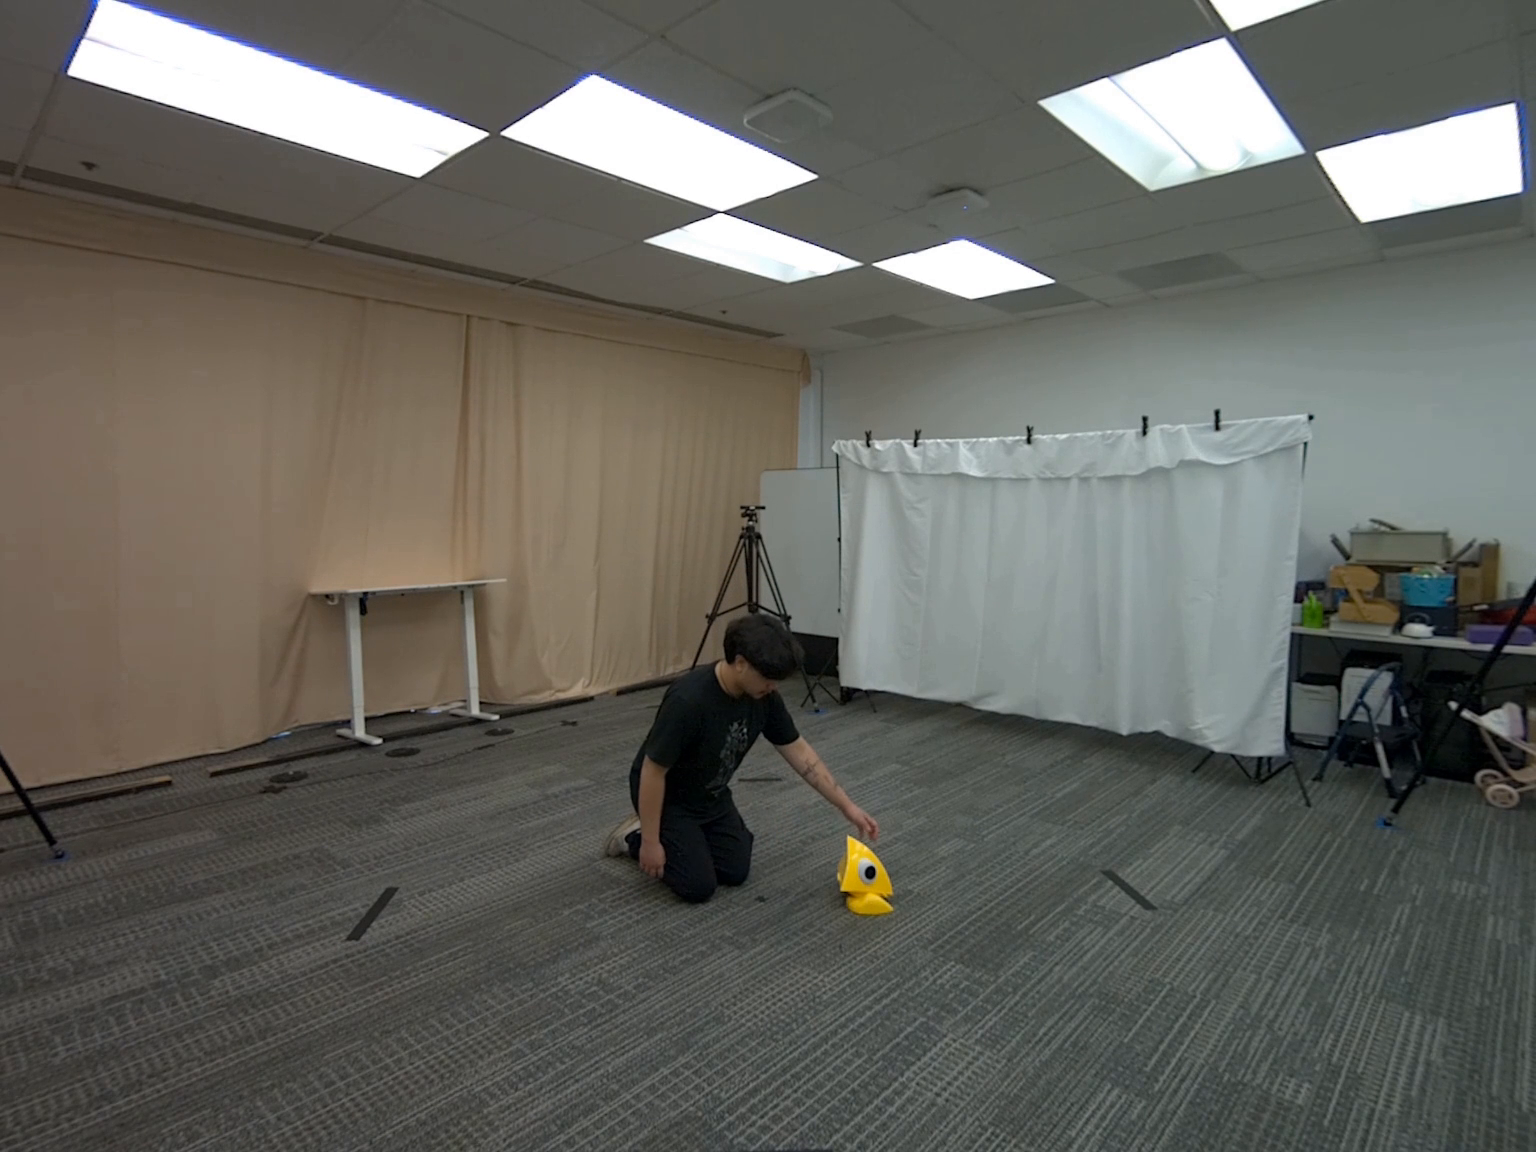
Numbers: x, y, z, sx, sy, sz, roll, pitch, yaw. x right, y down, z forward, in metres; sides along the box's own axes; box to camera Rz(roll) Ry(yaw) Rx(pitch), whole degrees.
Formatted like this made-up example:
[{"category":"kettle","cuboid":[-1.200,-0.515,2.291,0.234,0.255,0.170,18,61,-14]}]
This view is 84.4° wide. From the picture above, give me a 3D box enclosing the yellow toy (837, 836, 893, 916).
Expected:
[{"category":"yellow toy","cuboid":[0.352,1.034,2.951,0.194,0.230,0.204,-1,3,3]}]
